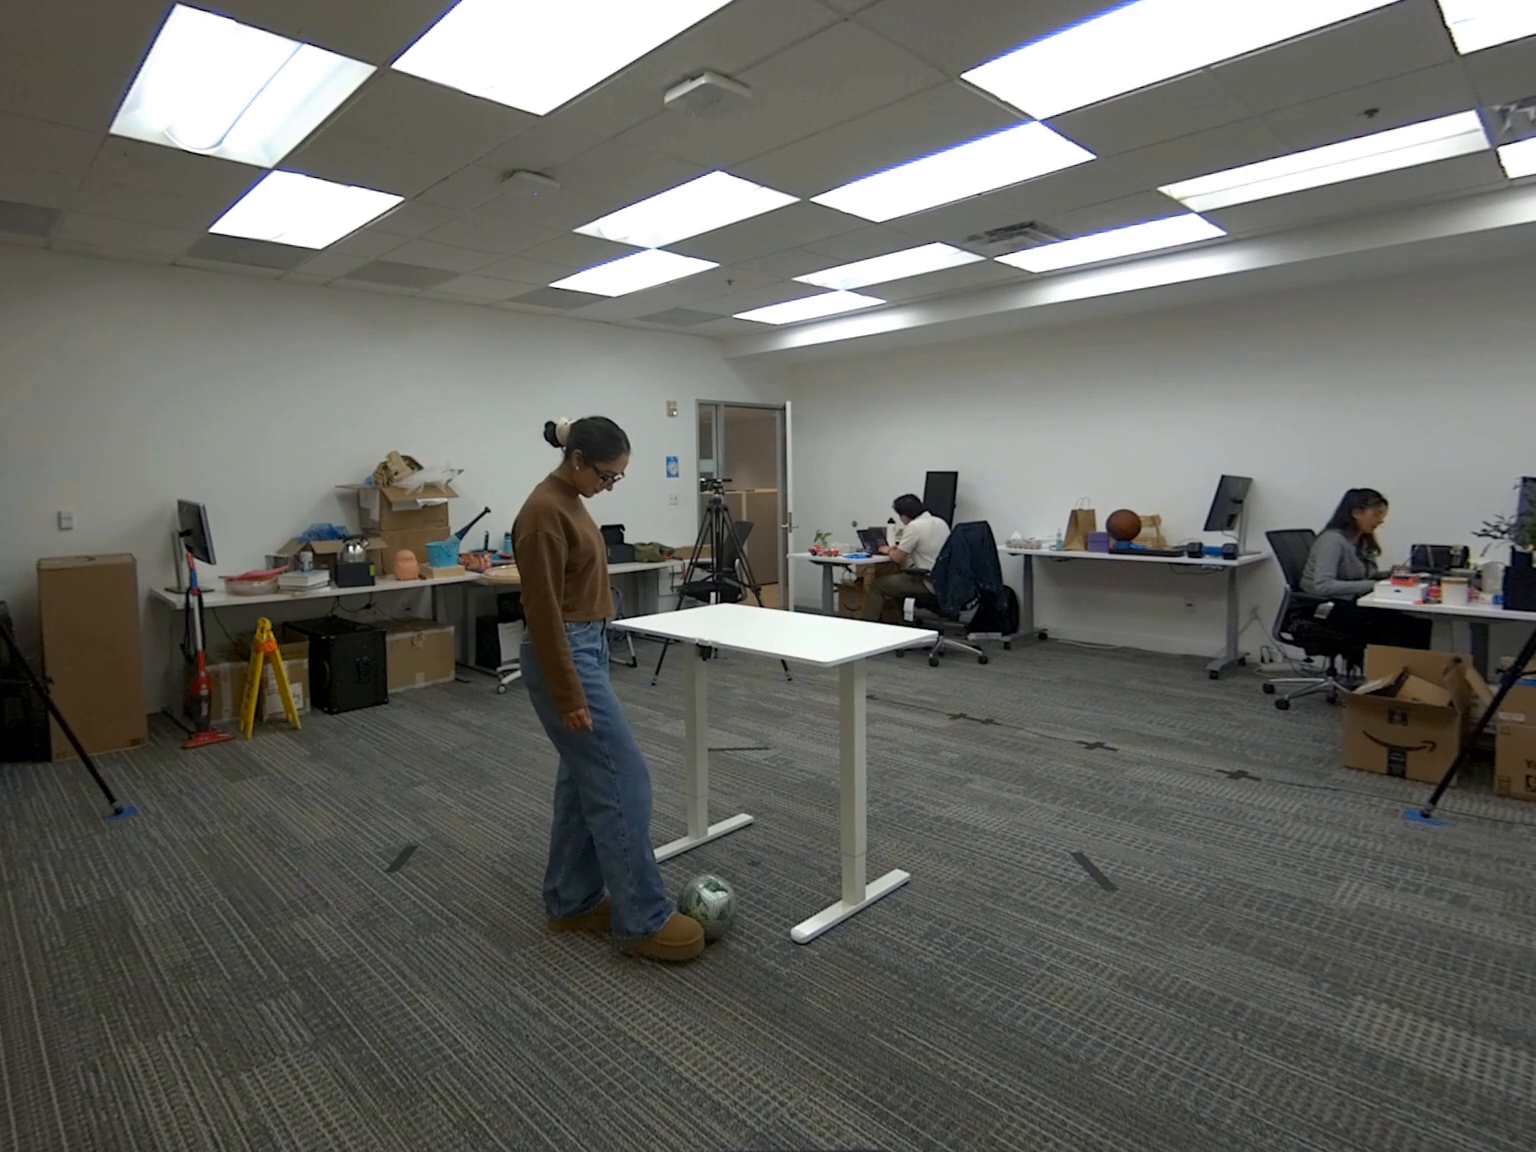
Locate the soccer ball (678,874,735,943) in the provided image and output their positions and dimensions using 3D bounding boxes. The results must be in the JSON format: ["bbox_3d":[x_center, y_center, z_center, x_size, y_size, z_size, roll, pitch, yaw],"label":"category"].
[{"bbox_3d":[-0.184,1.007,2.611,0.187,0.187,0.188,-1,5,-2],"label":"soccer ball"}]
